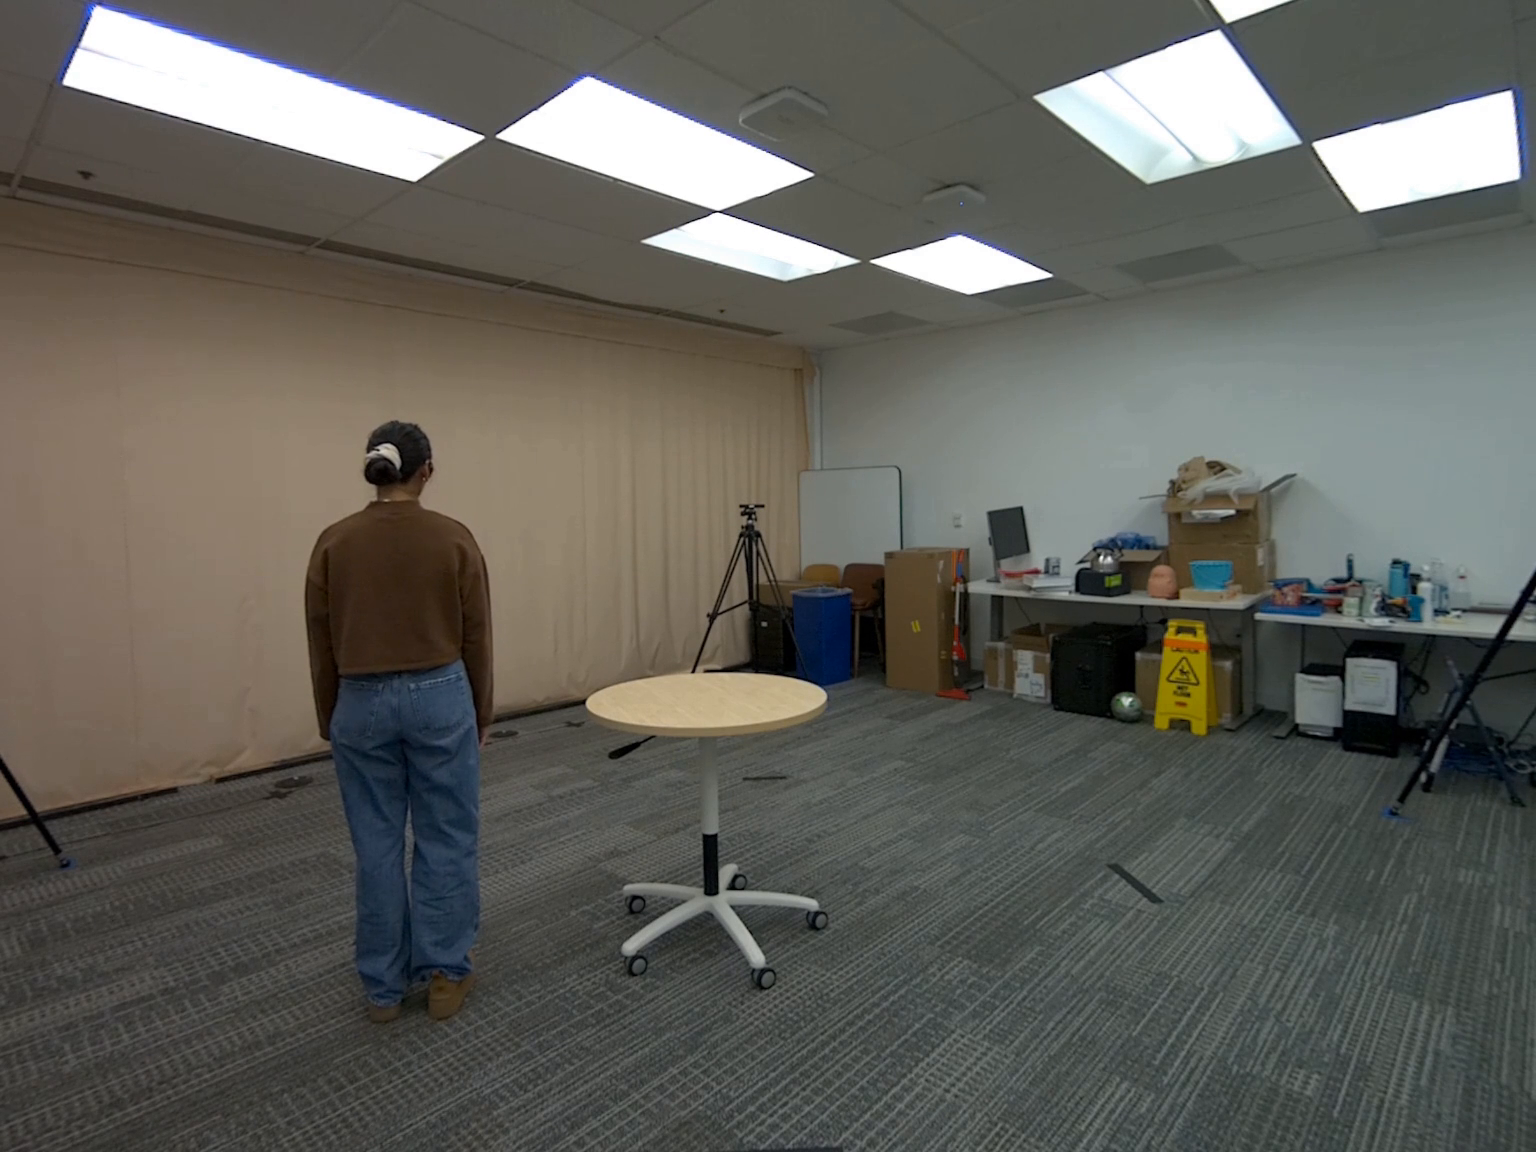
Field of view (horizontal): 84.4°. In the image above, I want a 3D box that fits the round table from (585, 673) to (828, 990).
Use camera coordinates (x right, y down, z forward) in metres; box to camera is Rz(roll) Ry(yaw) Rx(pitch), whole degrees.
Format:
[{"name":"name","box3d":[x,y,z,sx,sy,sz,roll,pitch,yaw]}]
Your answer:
[{"name":"round table","box3d":[-0.184,0.781,2.706,0.763,0.792,0.767,-2,4,-2]}]
